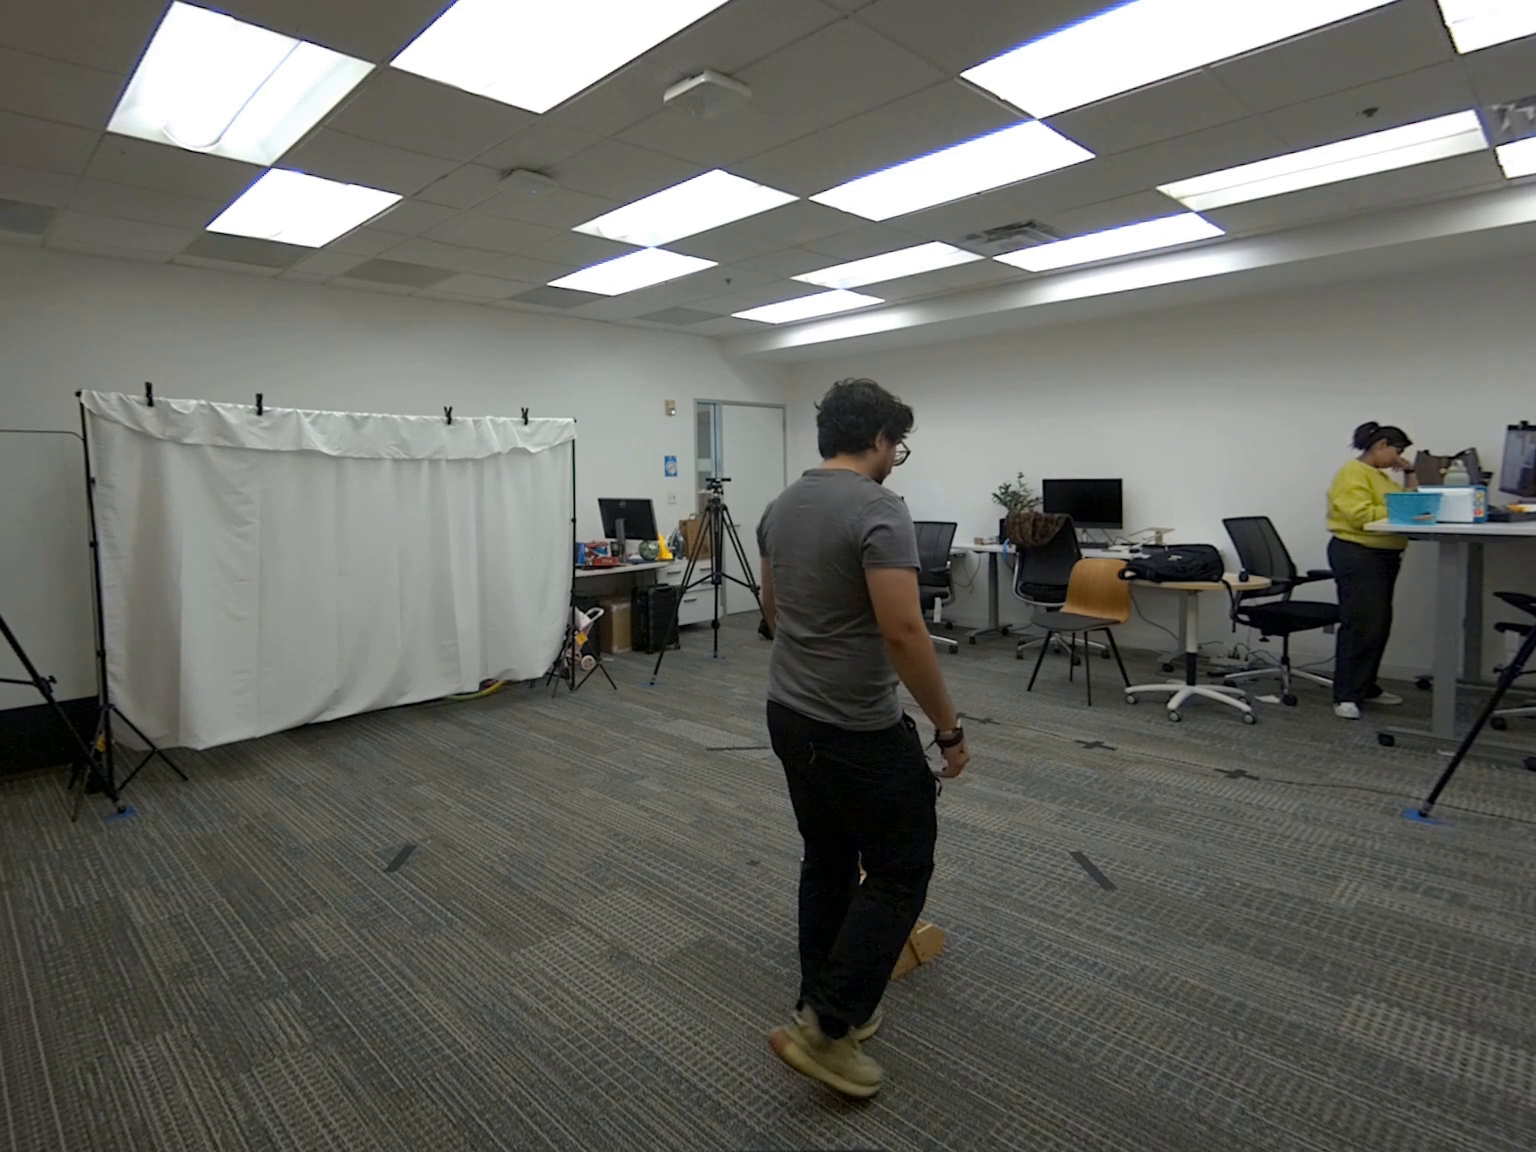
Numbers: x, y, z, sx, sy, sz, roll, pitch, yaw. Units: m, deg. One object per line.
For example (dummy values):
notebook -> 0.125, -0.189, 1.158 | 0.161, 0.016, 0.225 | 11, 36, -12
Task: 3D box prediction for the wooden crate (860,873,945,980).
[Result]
wooden crate -> 0.327, 0.974, 2.533 | 0.294, 0.272, 0.334 | -6, 7, -40
